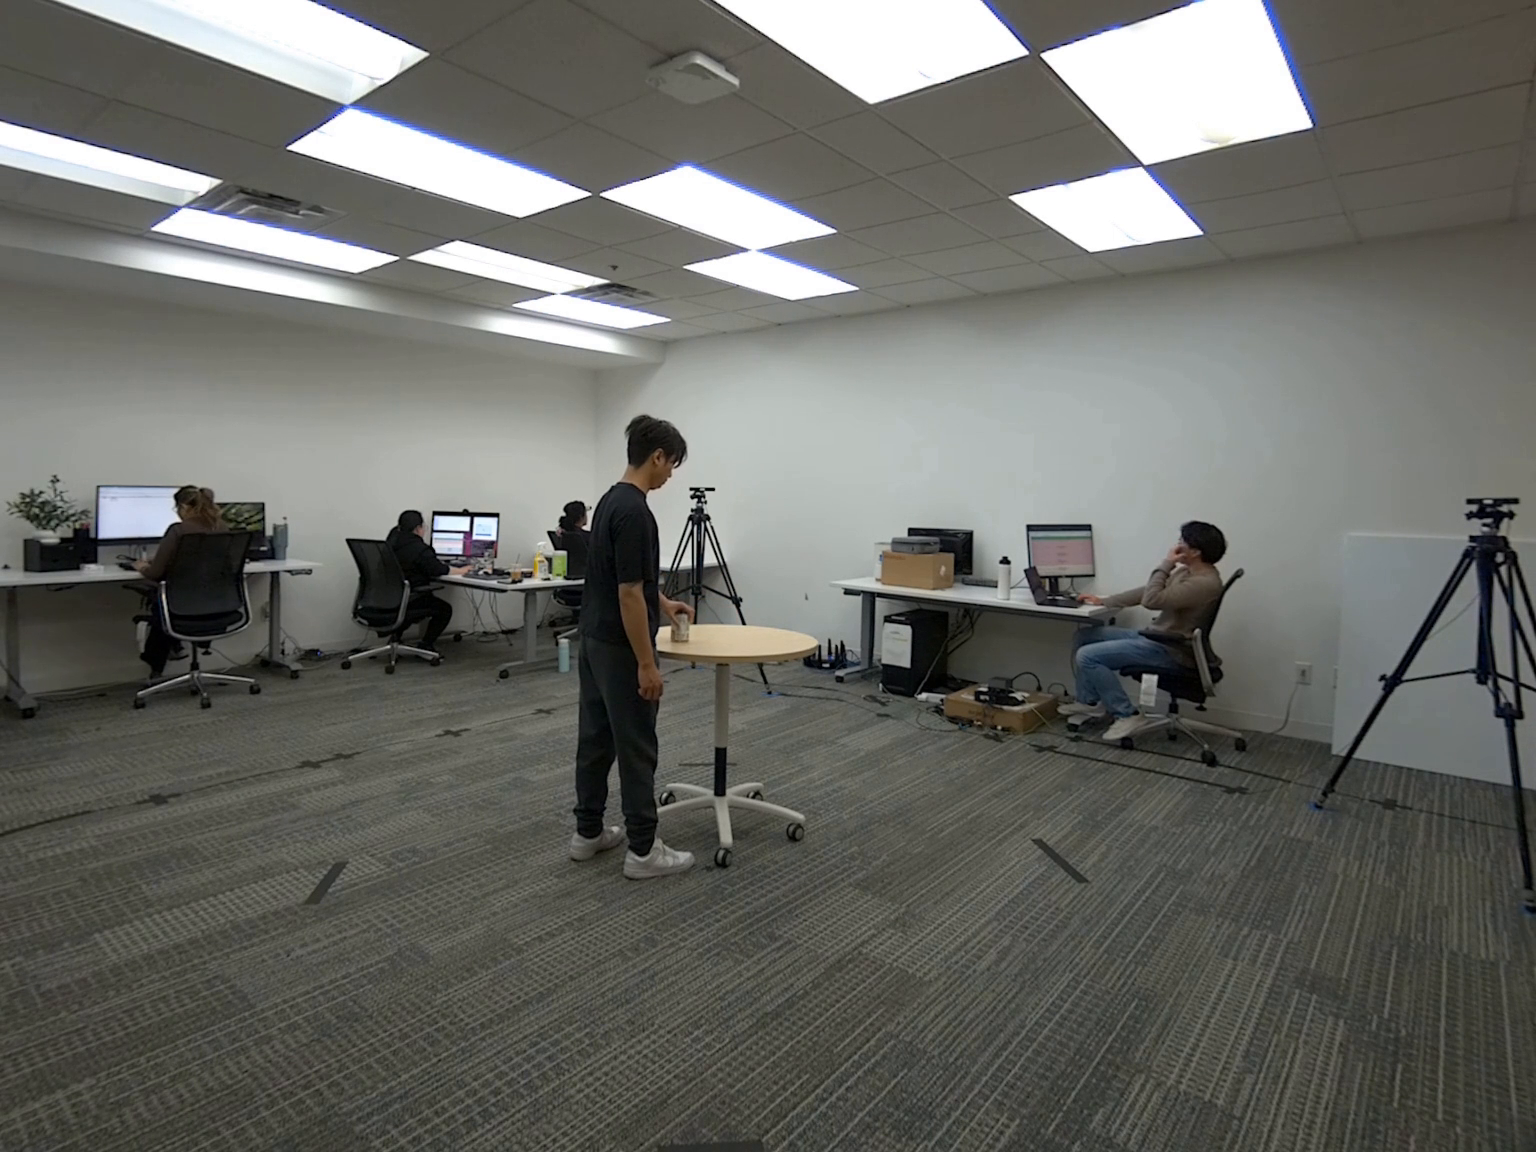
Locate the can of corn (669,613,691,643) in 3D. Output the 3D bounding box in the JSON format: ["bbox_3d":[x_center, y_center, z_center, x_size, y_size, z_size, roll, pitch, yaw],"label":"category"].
[{"bbox_3d":[-0.354,0.200,3.375,0.074,0.111,0.074,-2,3,-2],"label":"can of corn"}]
